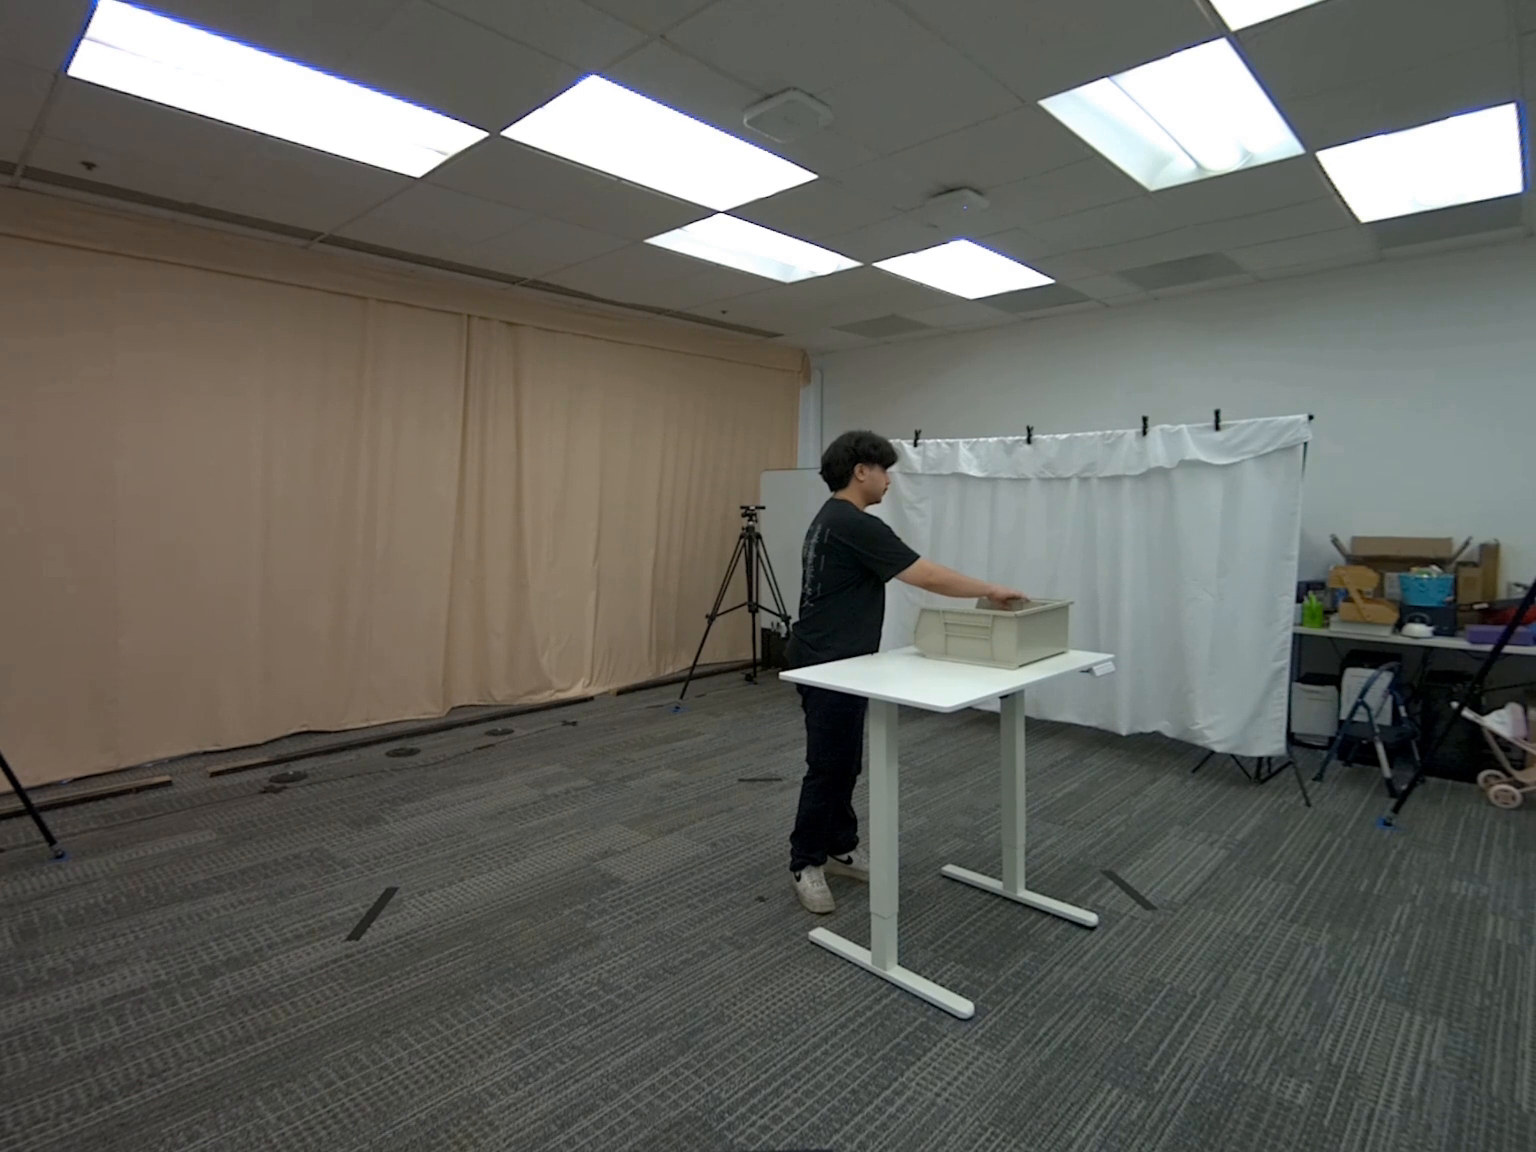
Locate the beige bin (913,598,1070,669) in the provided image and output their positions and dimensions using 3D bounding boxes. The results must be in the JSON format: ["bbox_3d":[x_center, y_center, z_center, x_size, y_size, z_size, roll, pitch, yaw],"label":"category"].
[{"bbox_3d":[0.766,0.183,2.847,0.390,0.188,0.409,5,7,44],"label":"beige bin"}]
